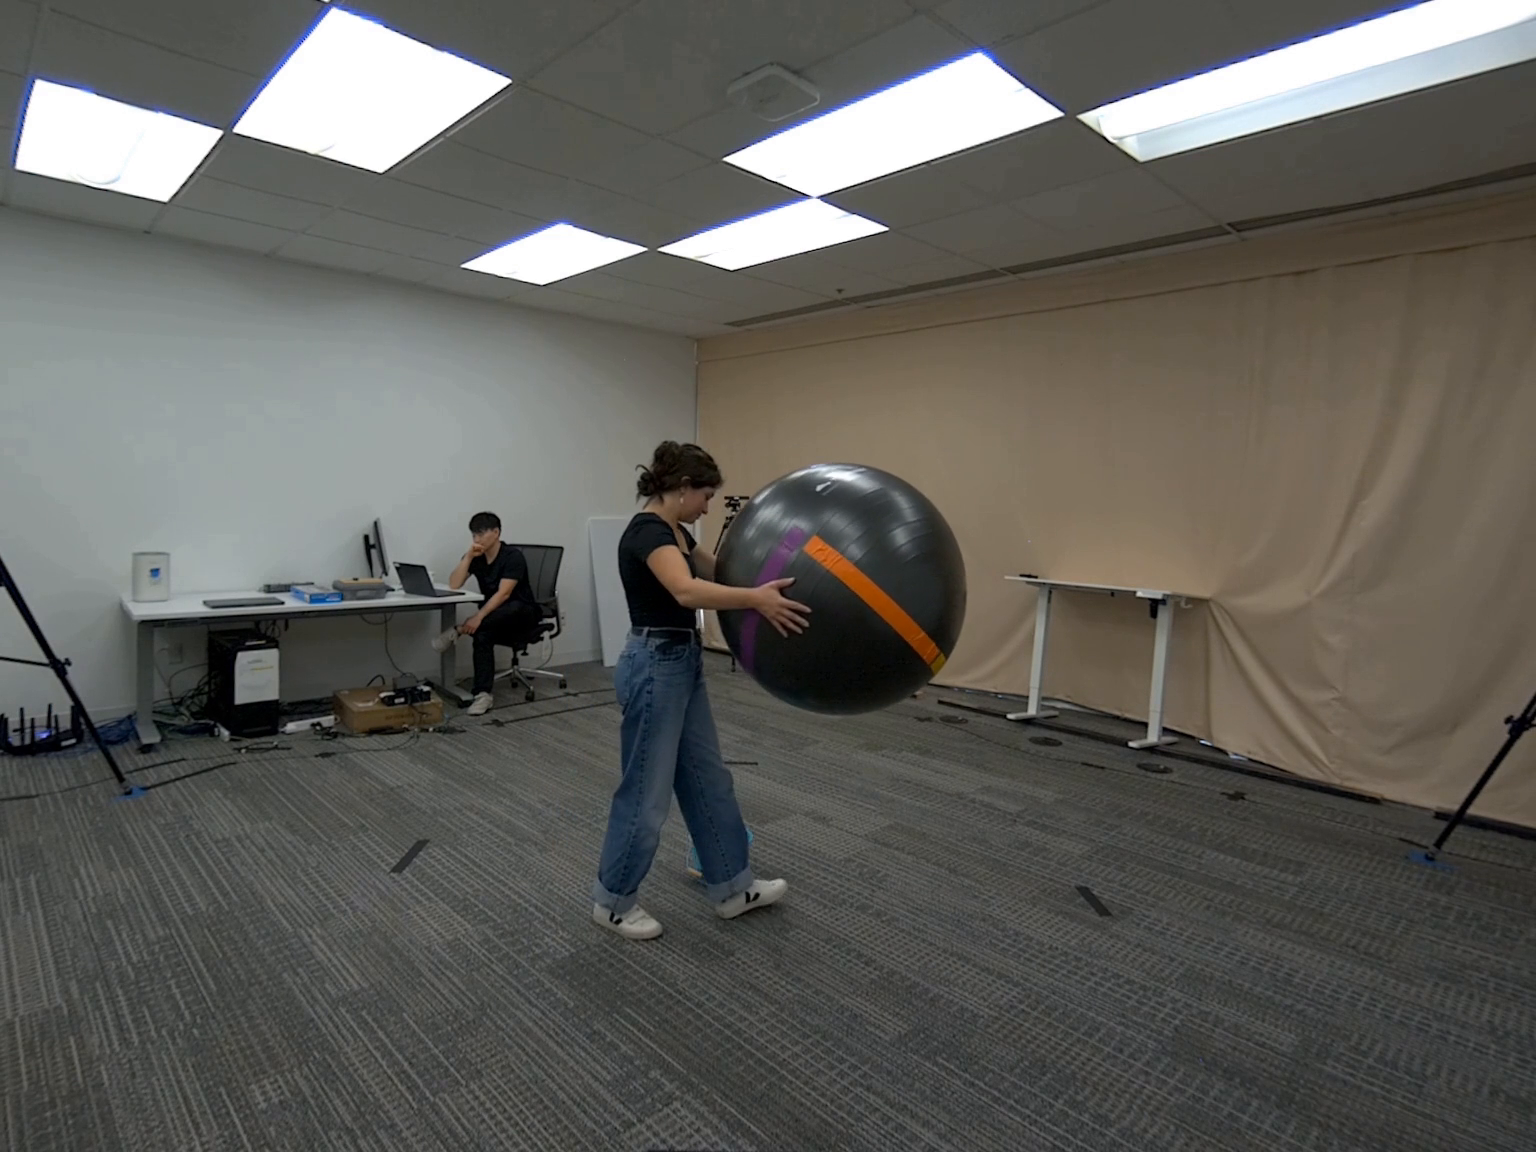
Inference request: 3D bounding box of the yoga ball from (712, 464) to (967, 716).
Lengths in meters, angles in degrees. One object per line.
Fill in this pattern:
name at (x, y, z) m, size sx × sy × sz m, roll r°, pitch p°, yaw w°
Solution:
yoga ball at (0.220, 0.041, 2.549) m, size 0.757 × 0.756 × 0.760 m, roll 1°, pitch 4°, yaw -1°
